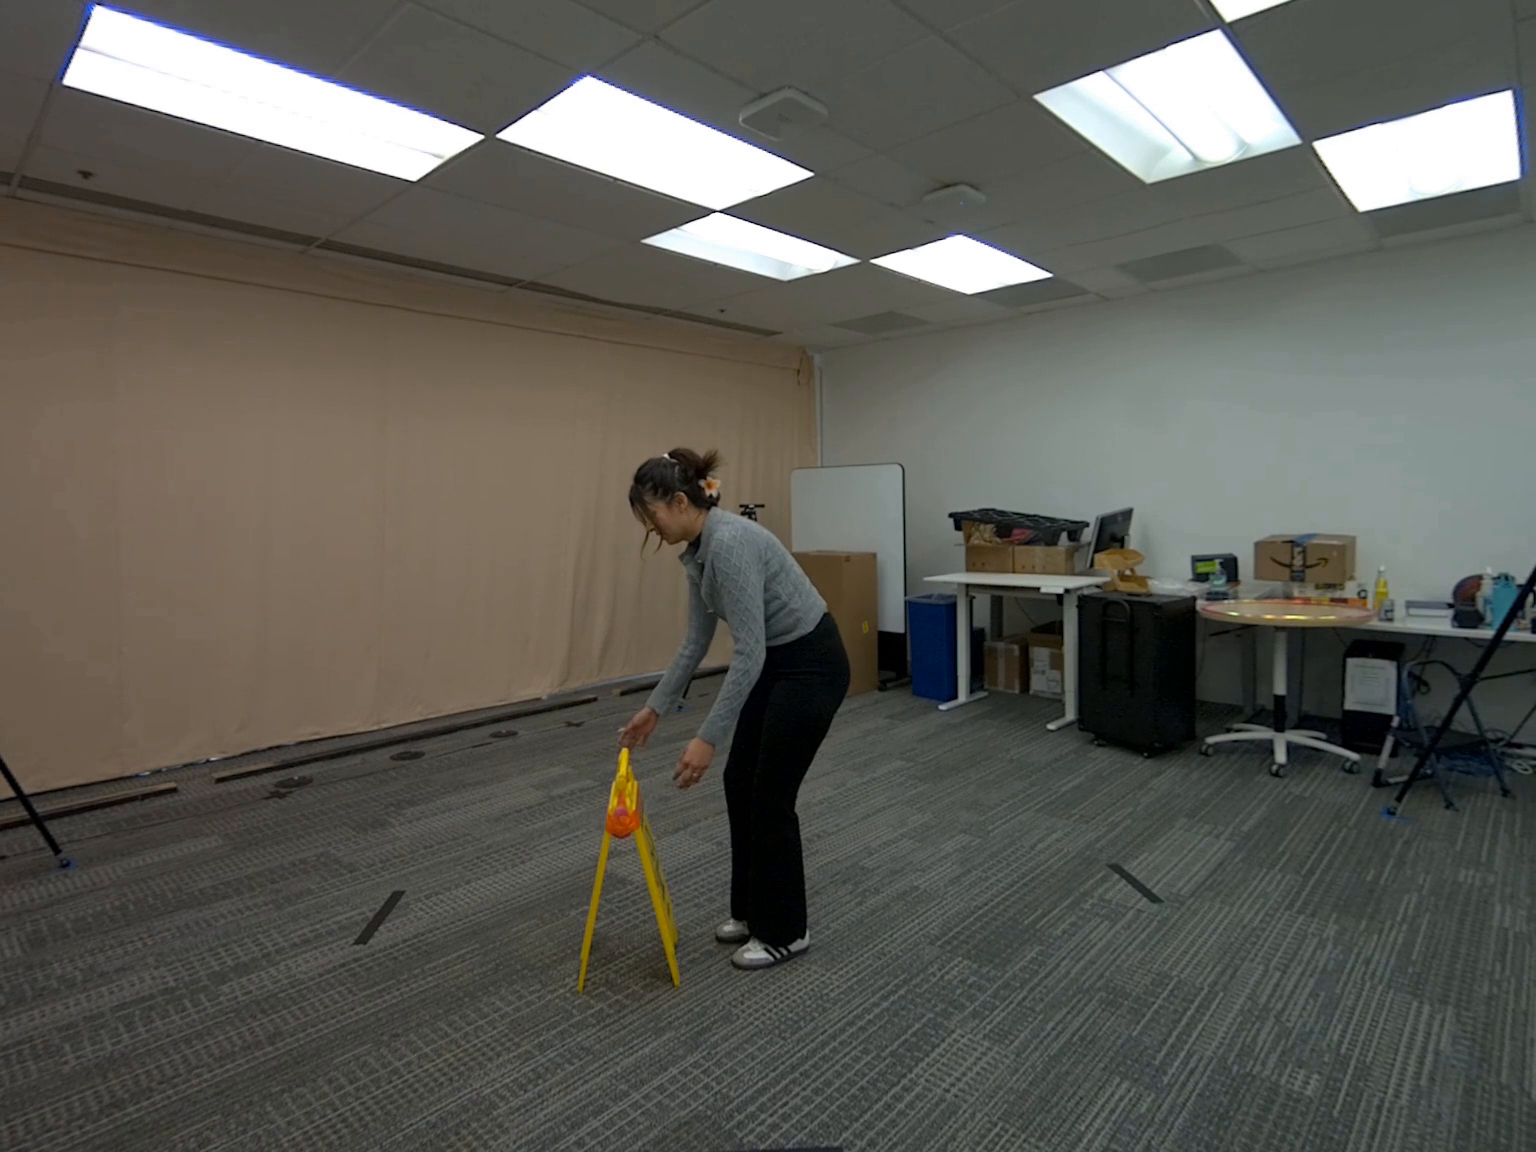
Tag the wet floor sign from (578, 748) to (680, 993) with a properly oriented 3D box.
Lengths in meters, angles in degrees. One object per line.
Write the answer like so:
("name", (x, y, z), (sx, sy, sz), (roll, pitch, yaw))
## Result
("wet floor sign", (-0.425, 0.862, 2.528), (0.288, 0.644, 0.285), (-2, 5, -5))
